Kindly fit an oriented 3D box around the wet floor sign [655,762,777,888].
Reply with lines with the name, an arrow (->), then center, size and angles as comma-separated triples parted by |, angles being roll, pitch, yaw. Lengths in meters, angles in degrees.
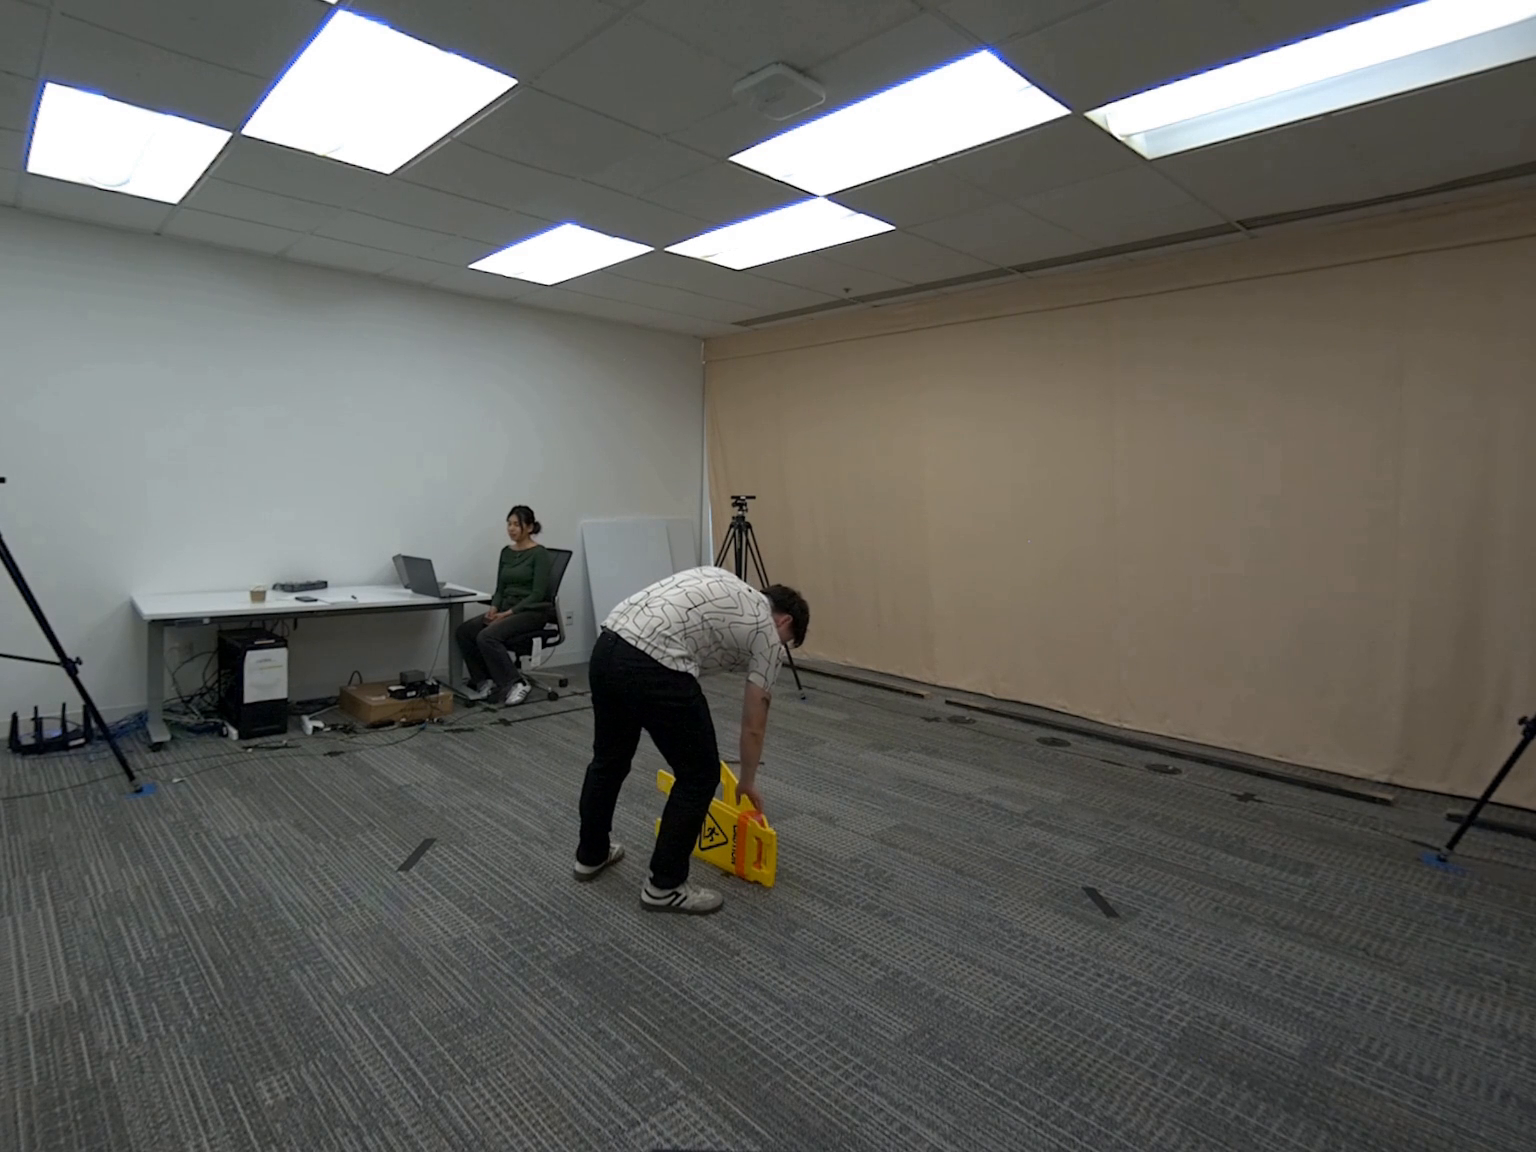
wet floor sign -> -0.161, 0.960, 3.230 | 0.284, 0.281, 0.662 | -2, 7, -33
